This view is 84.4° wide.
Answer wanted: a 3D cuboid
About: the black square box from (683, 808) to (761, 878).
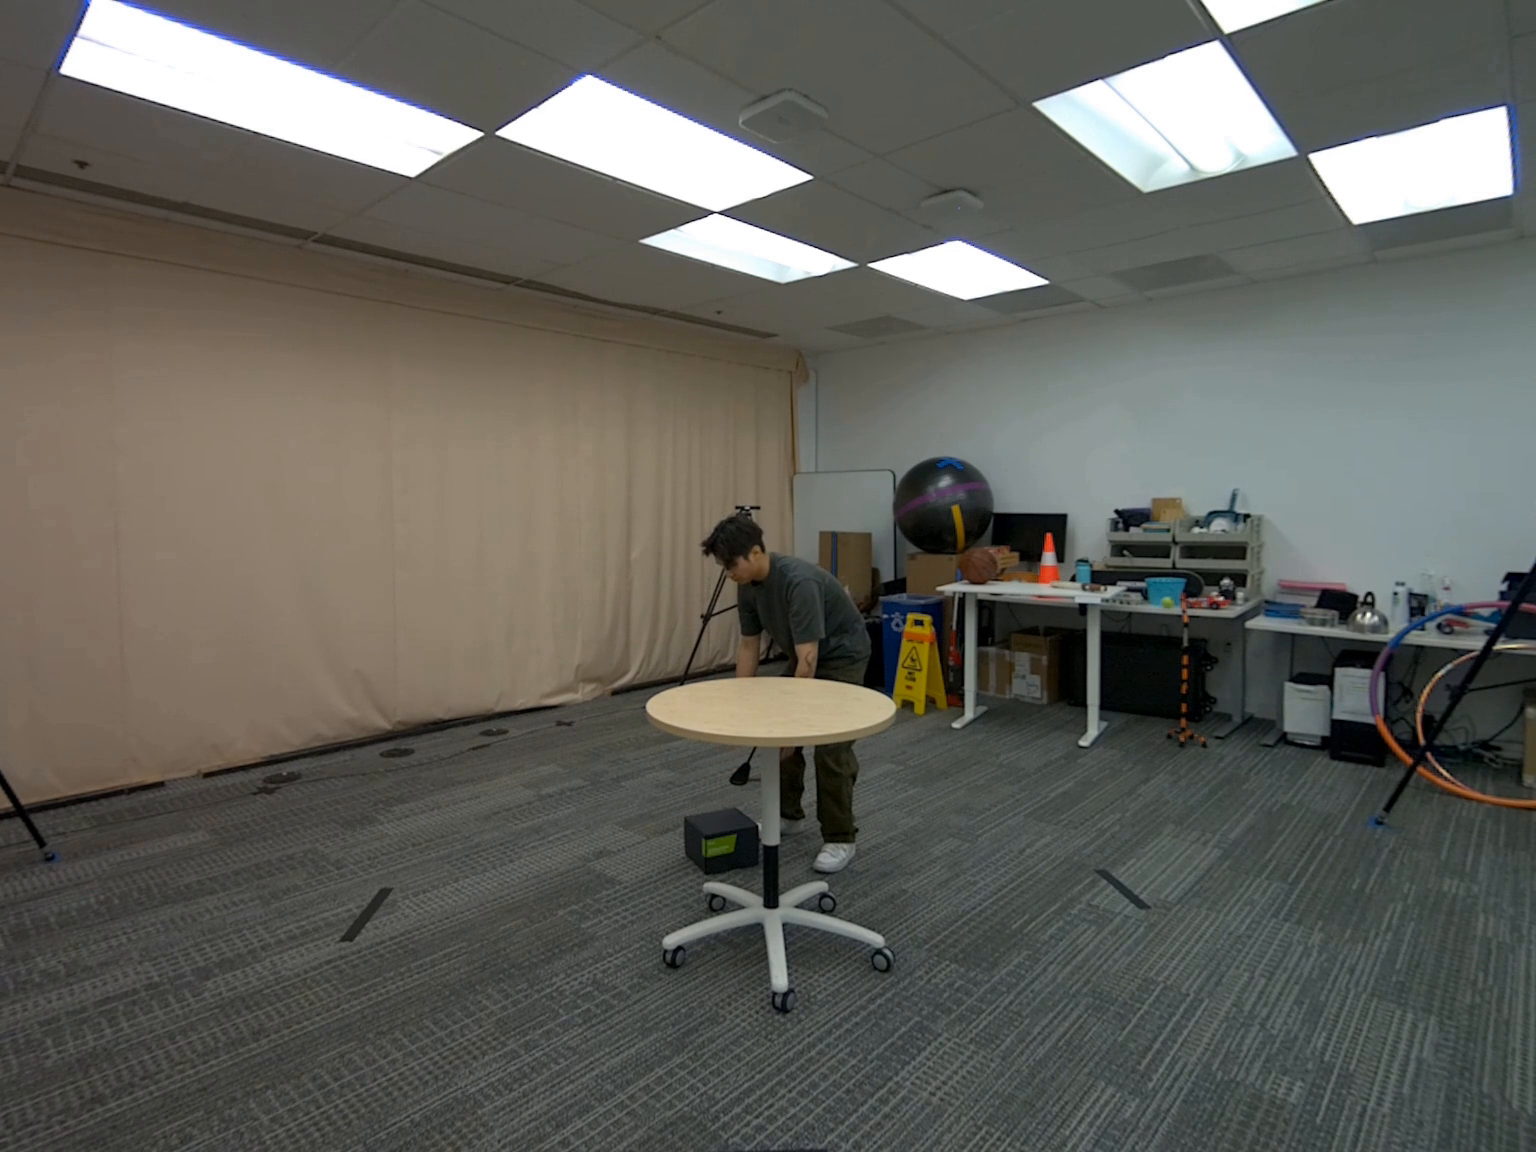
[{"bbox_3d":[-0.183,1.035,3.308,0.222,0.155,0.223,-3,5,-27],"label":"black square box"}]
